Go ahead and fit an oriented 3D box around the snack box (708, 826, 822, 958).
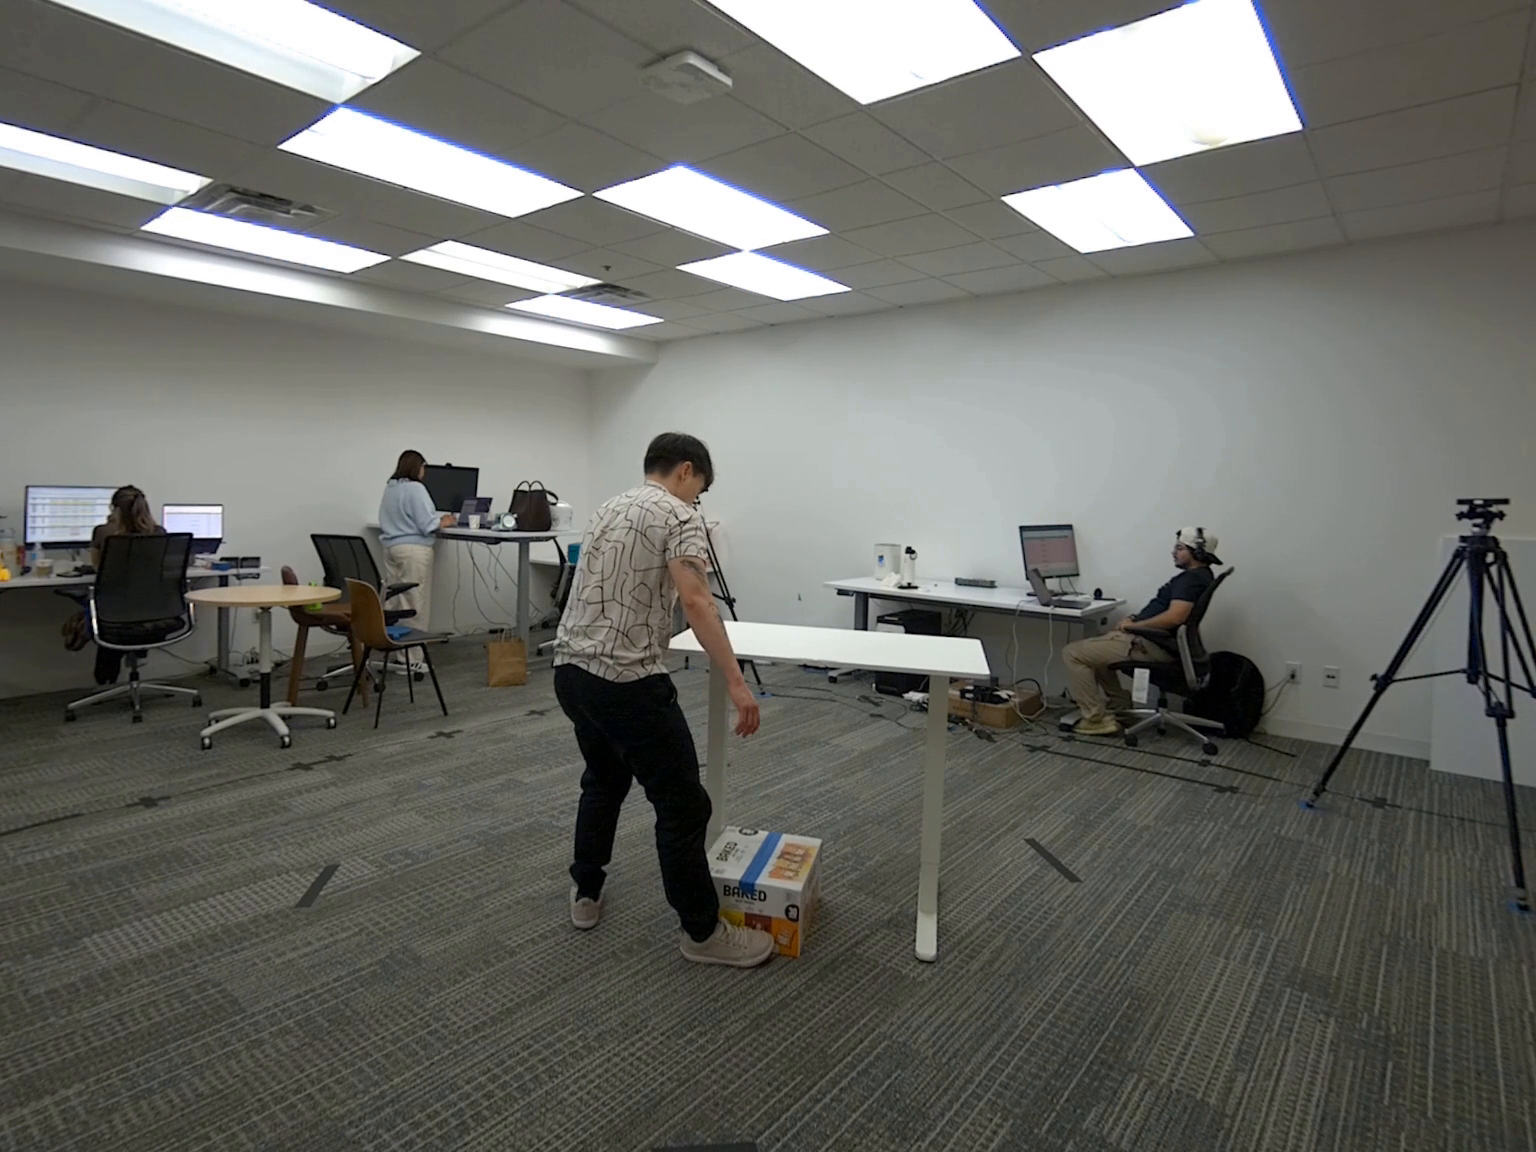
[{"bbox_3d":[-0.034,1.004,2.762,0.346,0.205,0.400,3,5,14],"label":"snack box"}]
